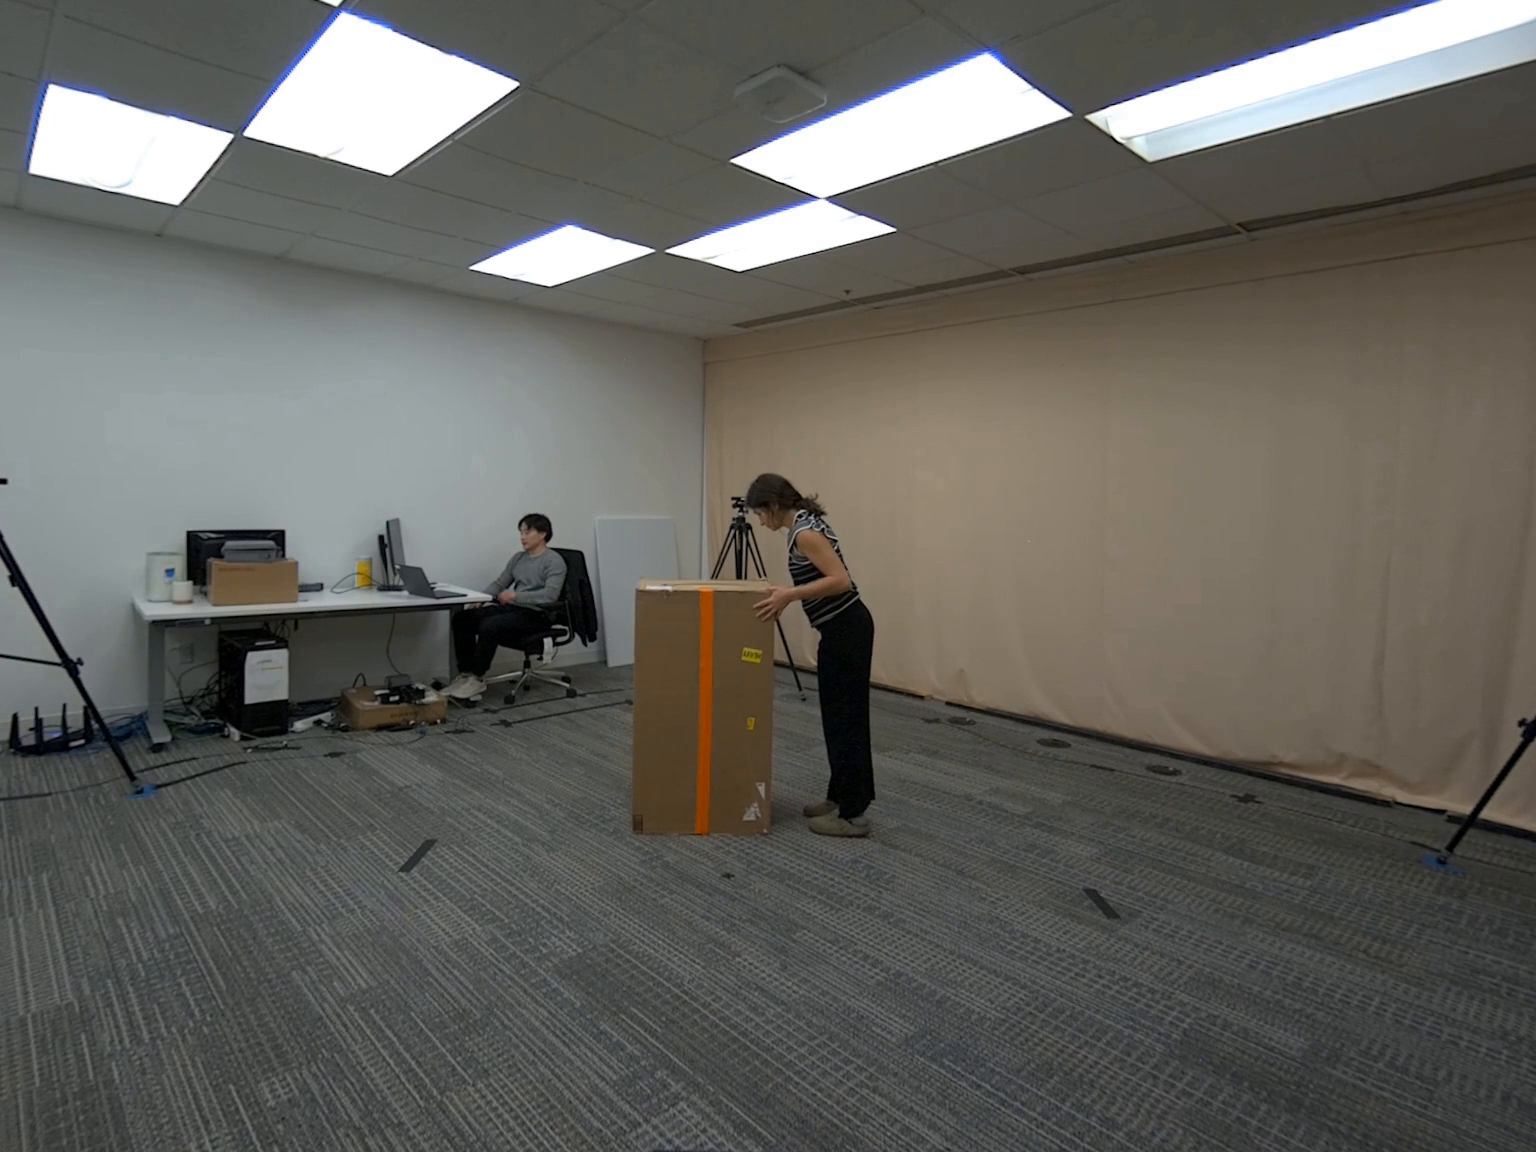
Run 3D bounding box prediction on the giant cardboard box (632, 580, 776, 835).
[{"bbox_3d":[-0.289,0.547,3.659,0.576,1.023,0.428,1,3,-3],"label":"giant cardboard box"}]
